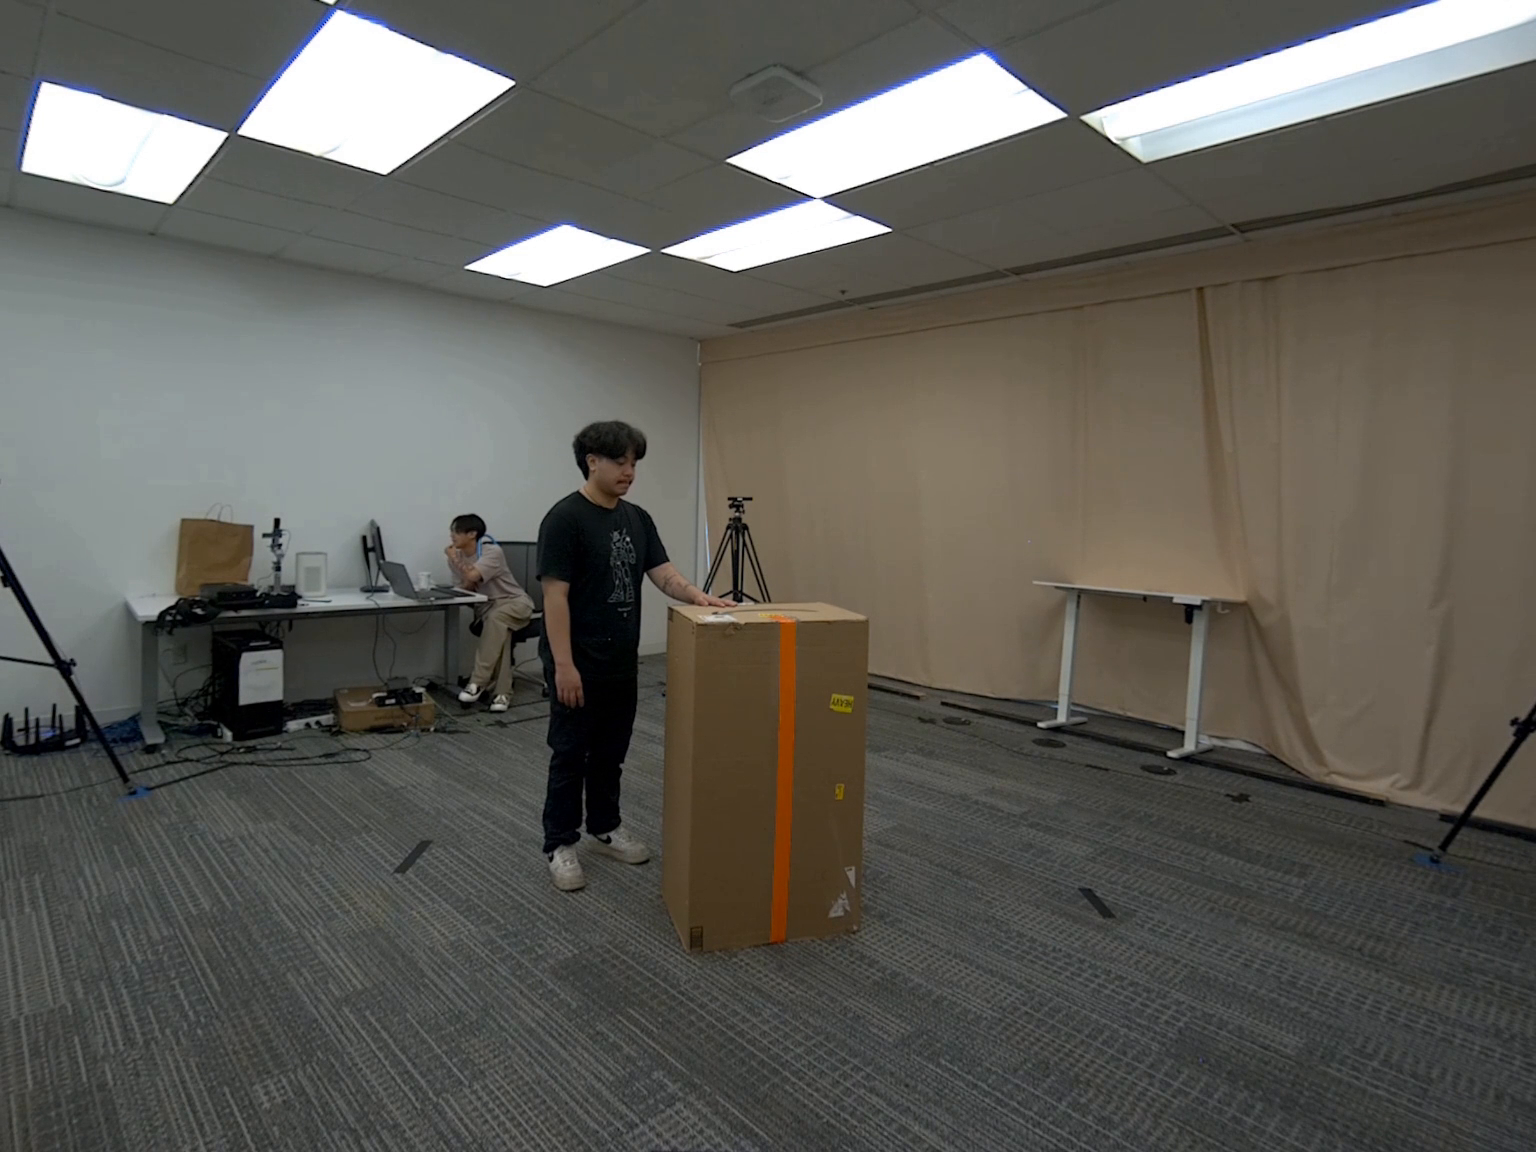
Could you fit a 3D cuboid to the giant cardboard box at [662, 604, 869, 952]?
[{"bbox_3d":[-0.031,0.625,2.813,0.576,1.024,0.454,1,4,-17],"label":"giant cardboard box"}]
